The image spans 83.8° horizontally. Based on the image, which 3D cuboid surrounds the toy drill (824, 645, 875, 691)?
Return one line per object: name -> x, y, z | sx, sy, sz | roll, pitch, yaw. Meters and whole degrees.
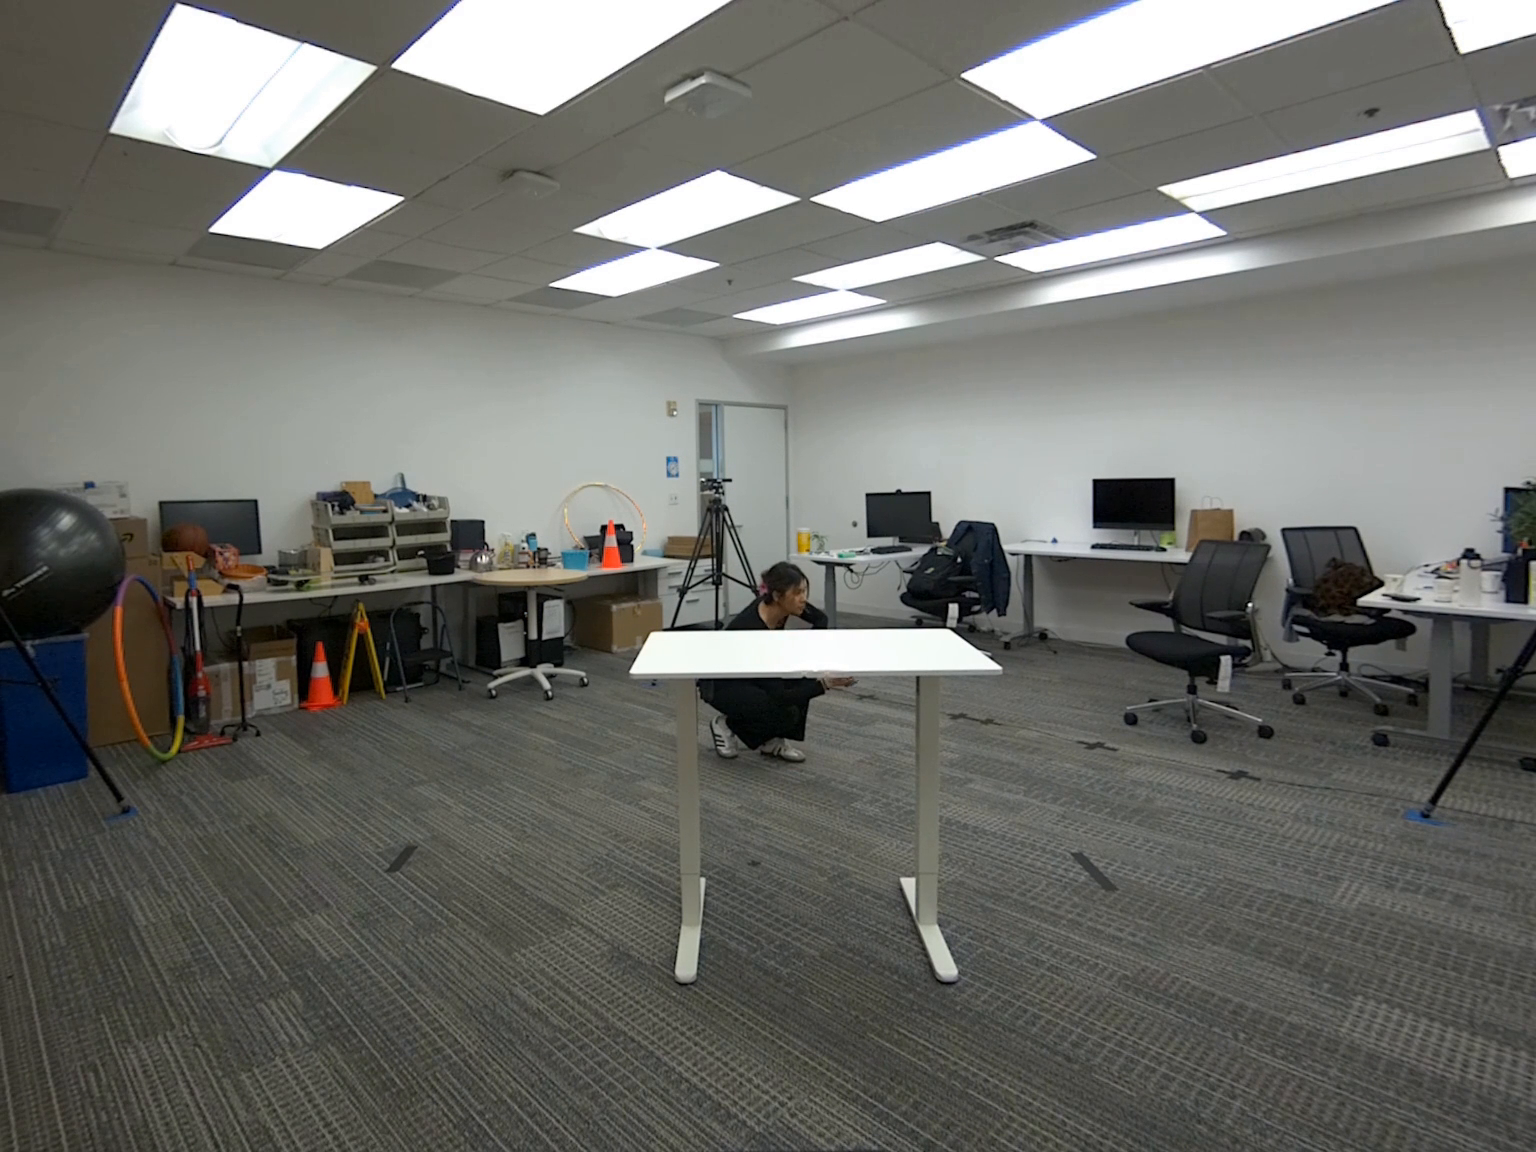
toy drill -> 0.373, 0.423, 3.943 | 0.171, 0.146, 0.060 | -26, 2, 25
